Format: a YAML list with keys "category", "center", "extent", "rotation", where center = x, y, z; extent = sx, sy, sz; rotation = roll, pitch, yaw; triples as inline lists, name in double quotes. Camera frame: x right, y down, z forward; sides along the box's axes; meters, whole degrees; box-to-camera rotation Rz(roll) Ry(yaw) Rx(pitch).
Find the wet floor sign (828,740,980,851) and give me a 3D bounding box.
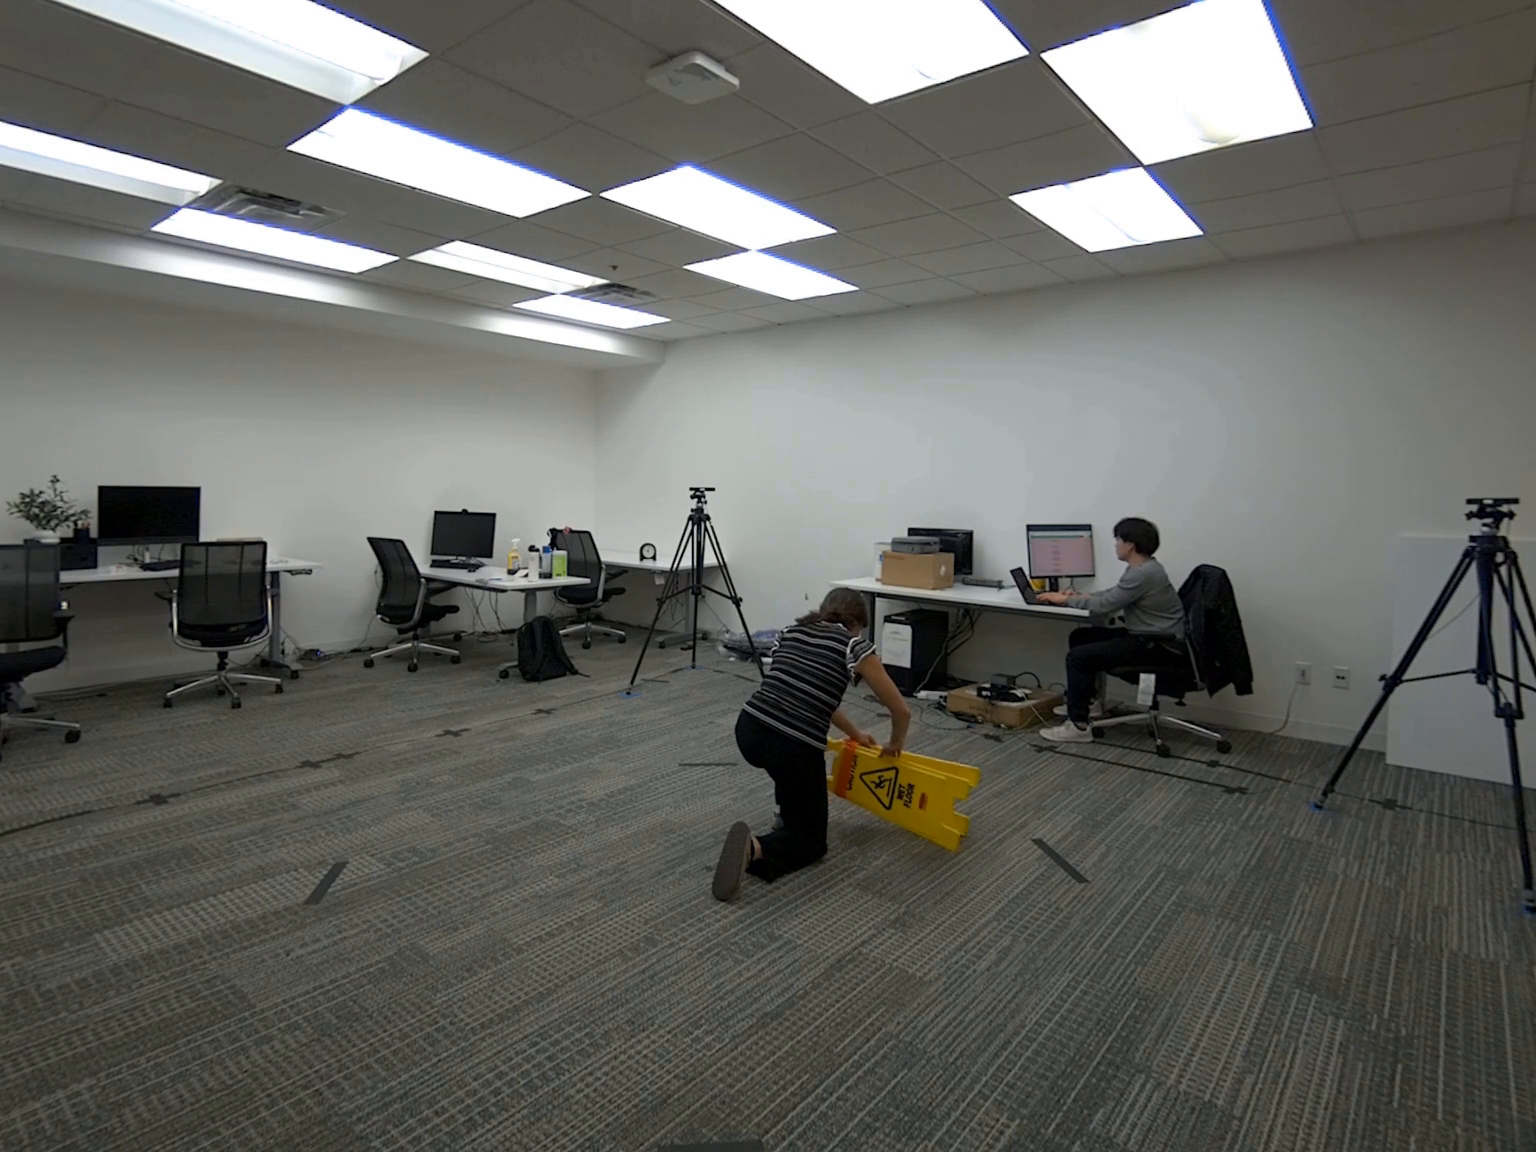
- category: "wet floor sign"
  center: [0.493, 0.849, 3.494]
  extent: [0.665, 0.282, 0.282]
  rotation: [14, 3, 25]
